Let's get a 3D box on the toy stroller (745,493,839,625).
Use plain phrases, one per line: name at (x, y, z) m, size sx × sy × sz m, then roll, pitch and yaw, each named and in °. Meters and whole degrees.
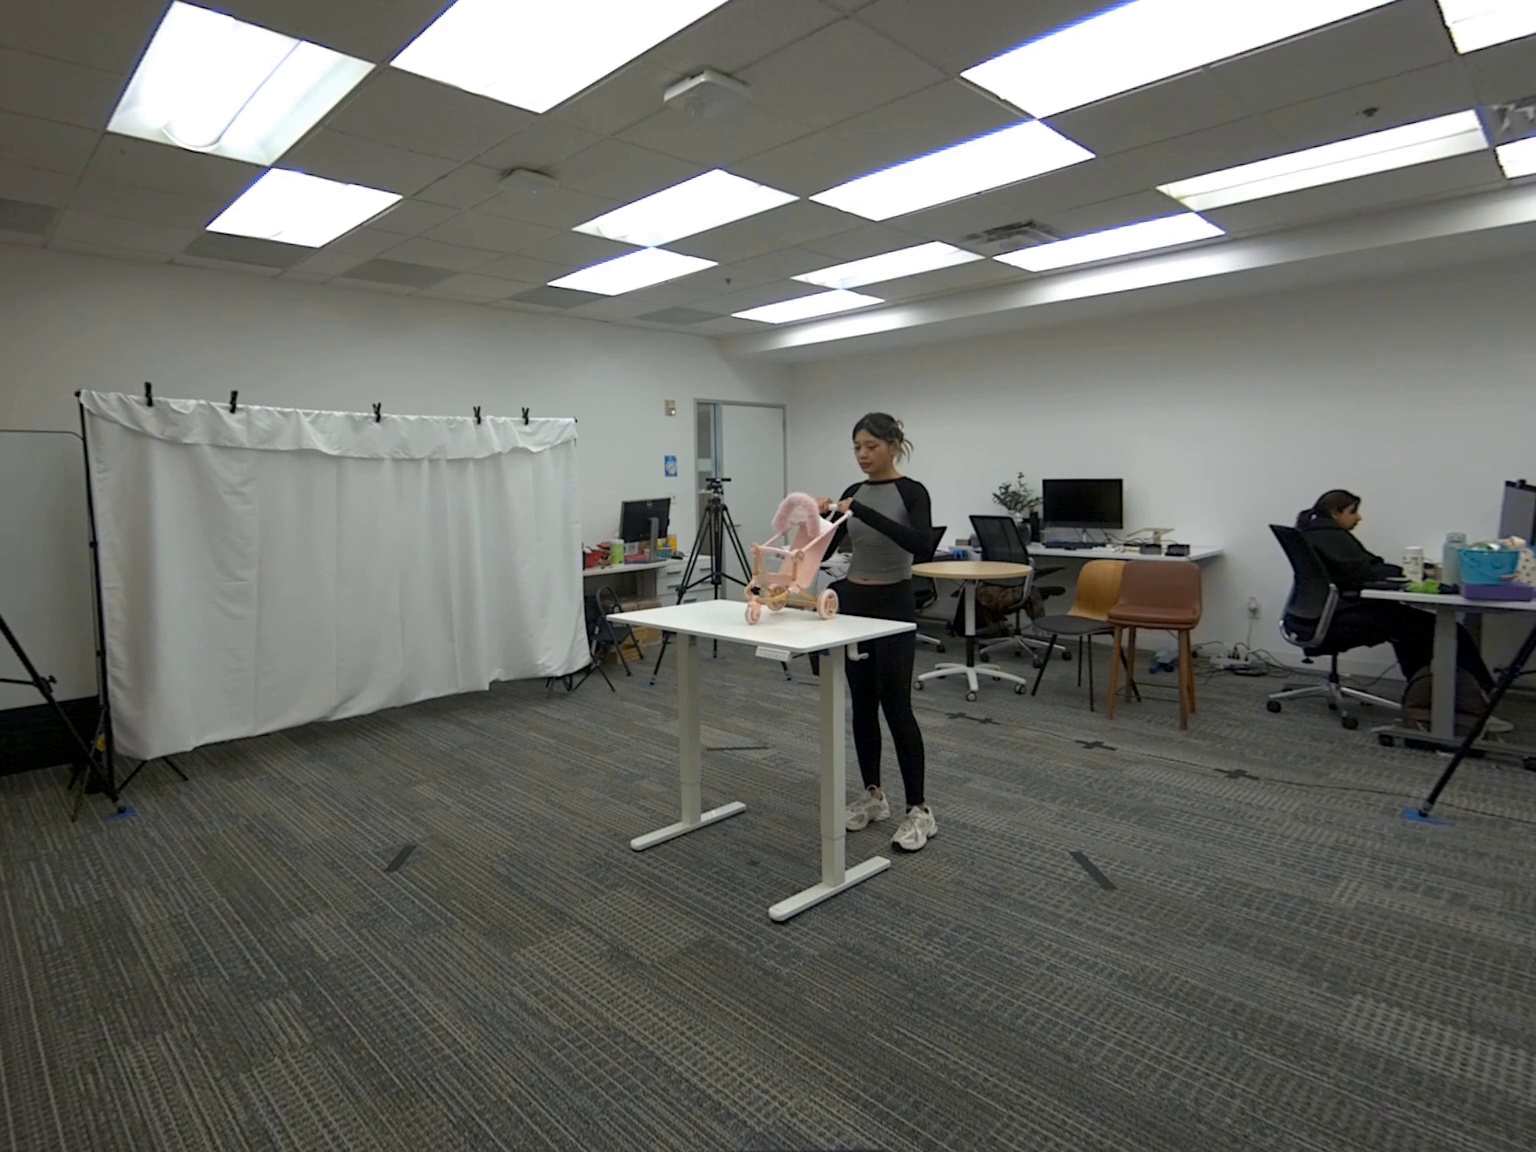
toy stroller at (0.085, -0.066, 3.111) m, size 0.329 × 0.537 × 0.290 m, roll 18°, pitch -8°, yaw -41°
